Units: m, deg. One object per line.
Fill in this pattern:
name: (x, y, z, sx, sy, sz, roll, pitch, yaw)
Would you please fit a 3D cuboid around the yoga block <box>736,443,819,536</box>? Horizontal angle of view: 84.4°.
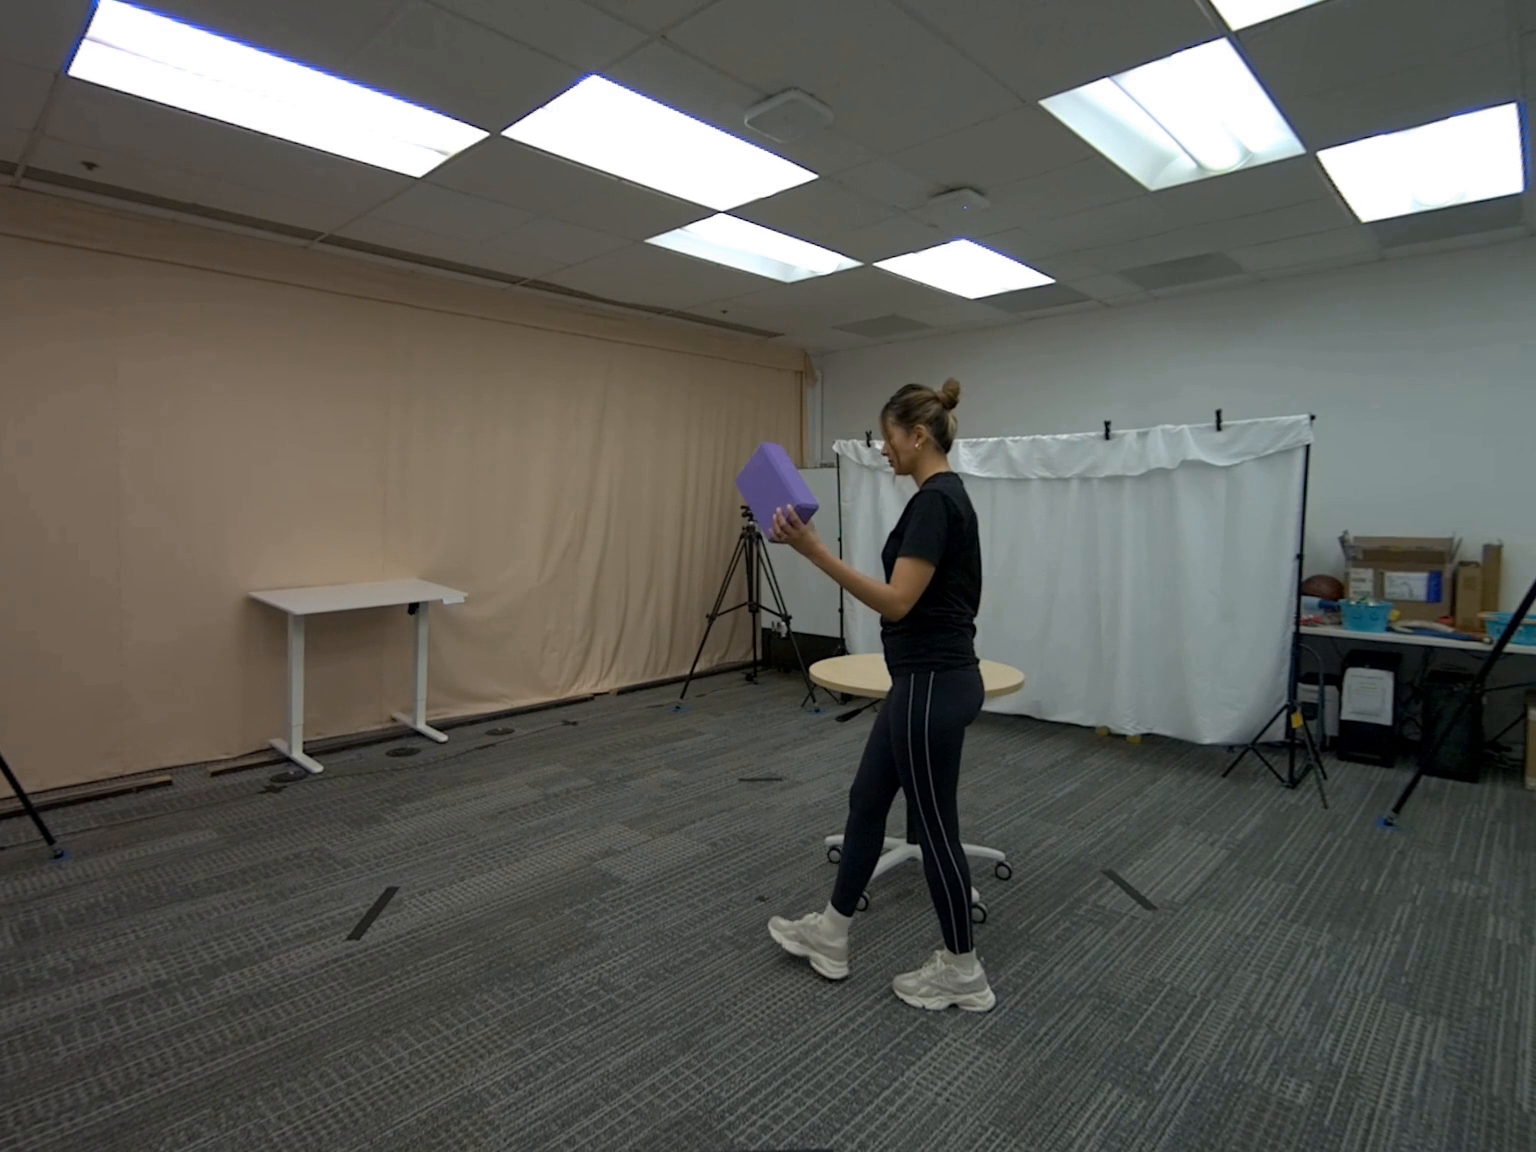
yoga block: (0.018, -0.211, 2.170, 0.074, 0.236, 0.150, 5, -44, -41)
